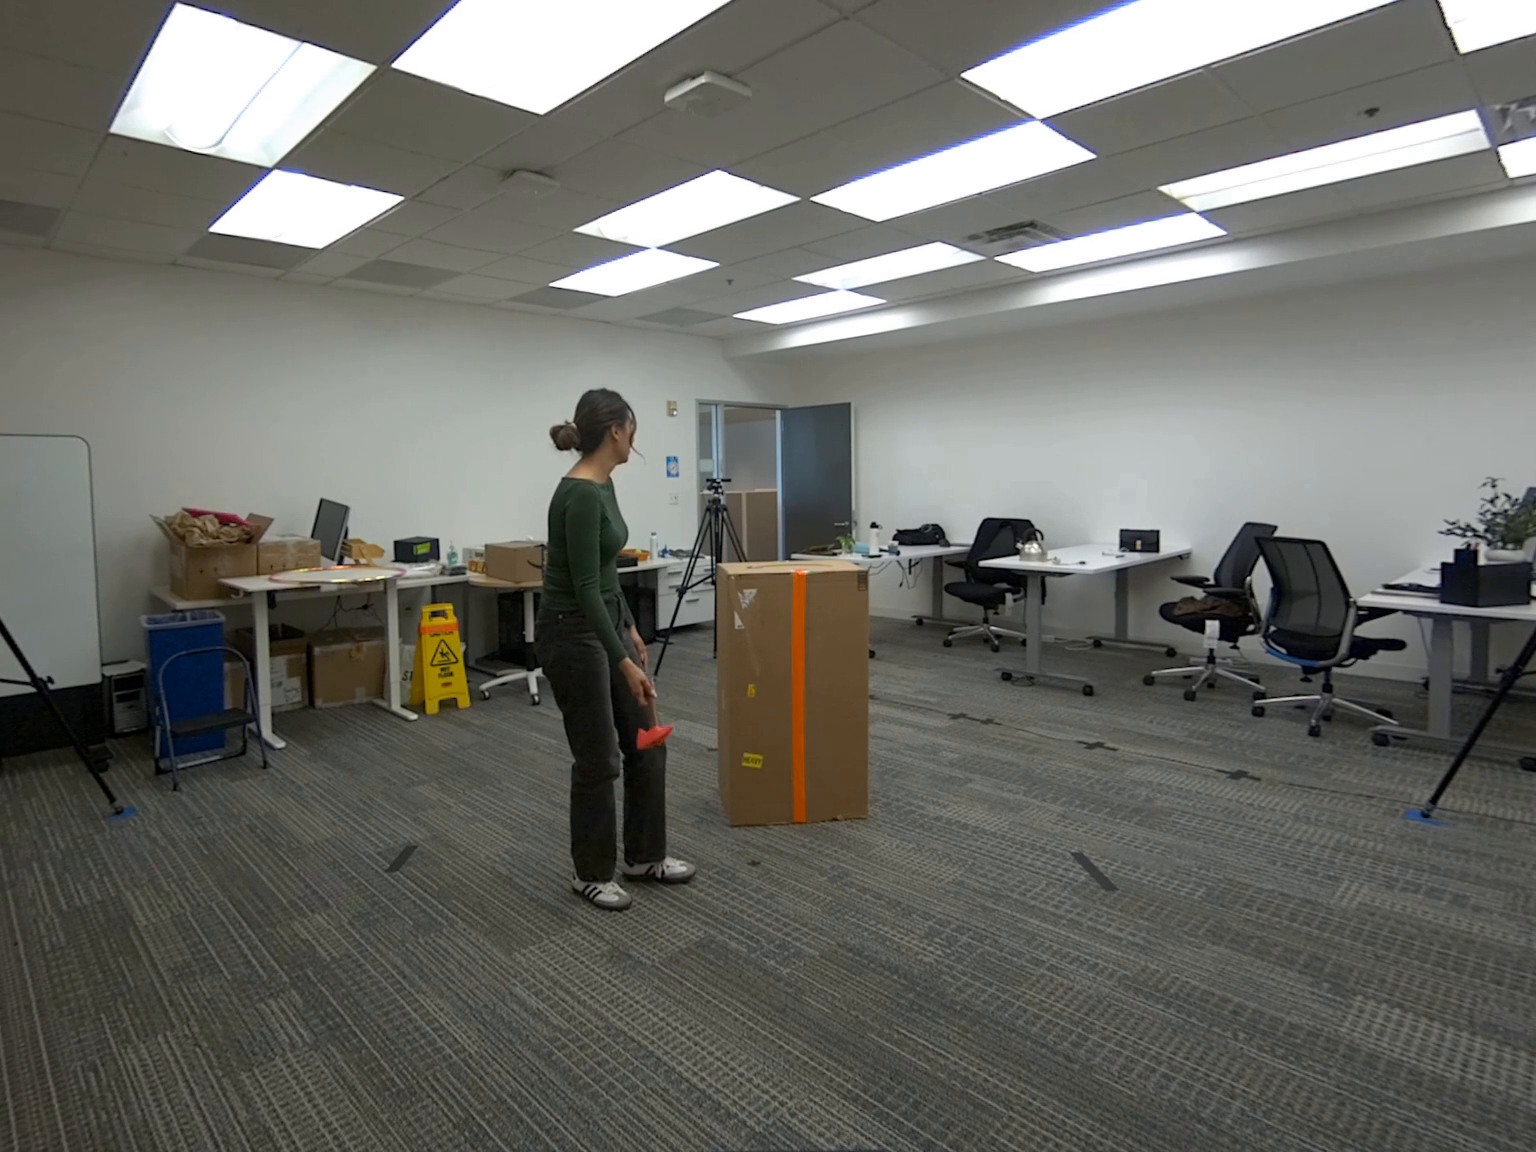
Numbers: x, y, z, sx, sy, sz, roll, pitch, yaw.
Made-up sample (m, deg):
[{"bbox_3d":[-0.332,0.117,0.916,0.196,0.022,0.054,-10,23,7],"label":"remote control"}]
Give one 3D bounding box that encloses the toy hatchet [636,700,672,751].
[{"bbox_3d":[-0.368,0.410,2.545,0.028,0.131,0.280,41,5,-38],"label":"toy hatchet"}]
